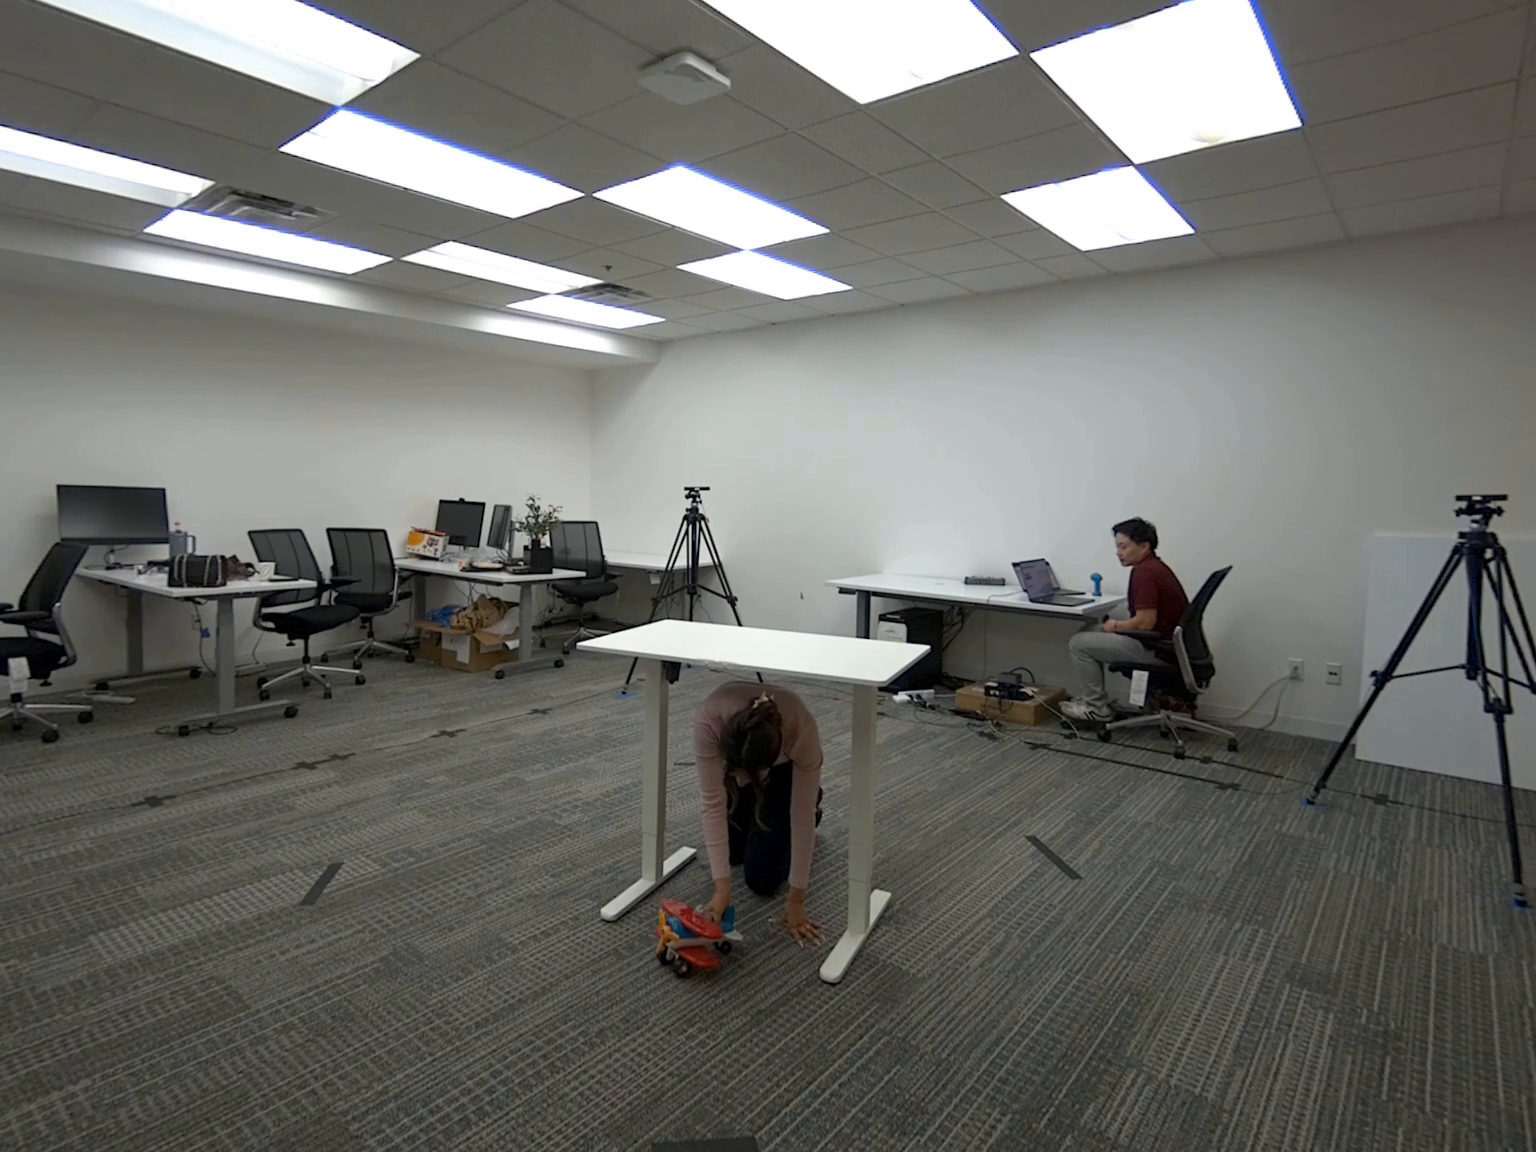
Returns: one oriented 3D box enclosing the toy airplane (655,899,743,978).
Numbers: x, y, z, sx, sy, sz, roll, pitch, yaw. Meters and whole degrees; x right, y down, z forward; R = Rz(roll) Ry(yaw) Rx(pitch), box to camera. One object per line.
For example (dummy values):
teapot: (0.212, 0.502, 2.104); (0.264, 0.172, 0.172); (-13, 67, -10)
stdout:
toy airplane: (-0.226, 1.051, 2.506); (0.257, 0.155, 0.254); (2, 7, 24)
